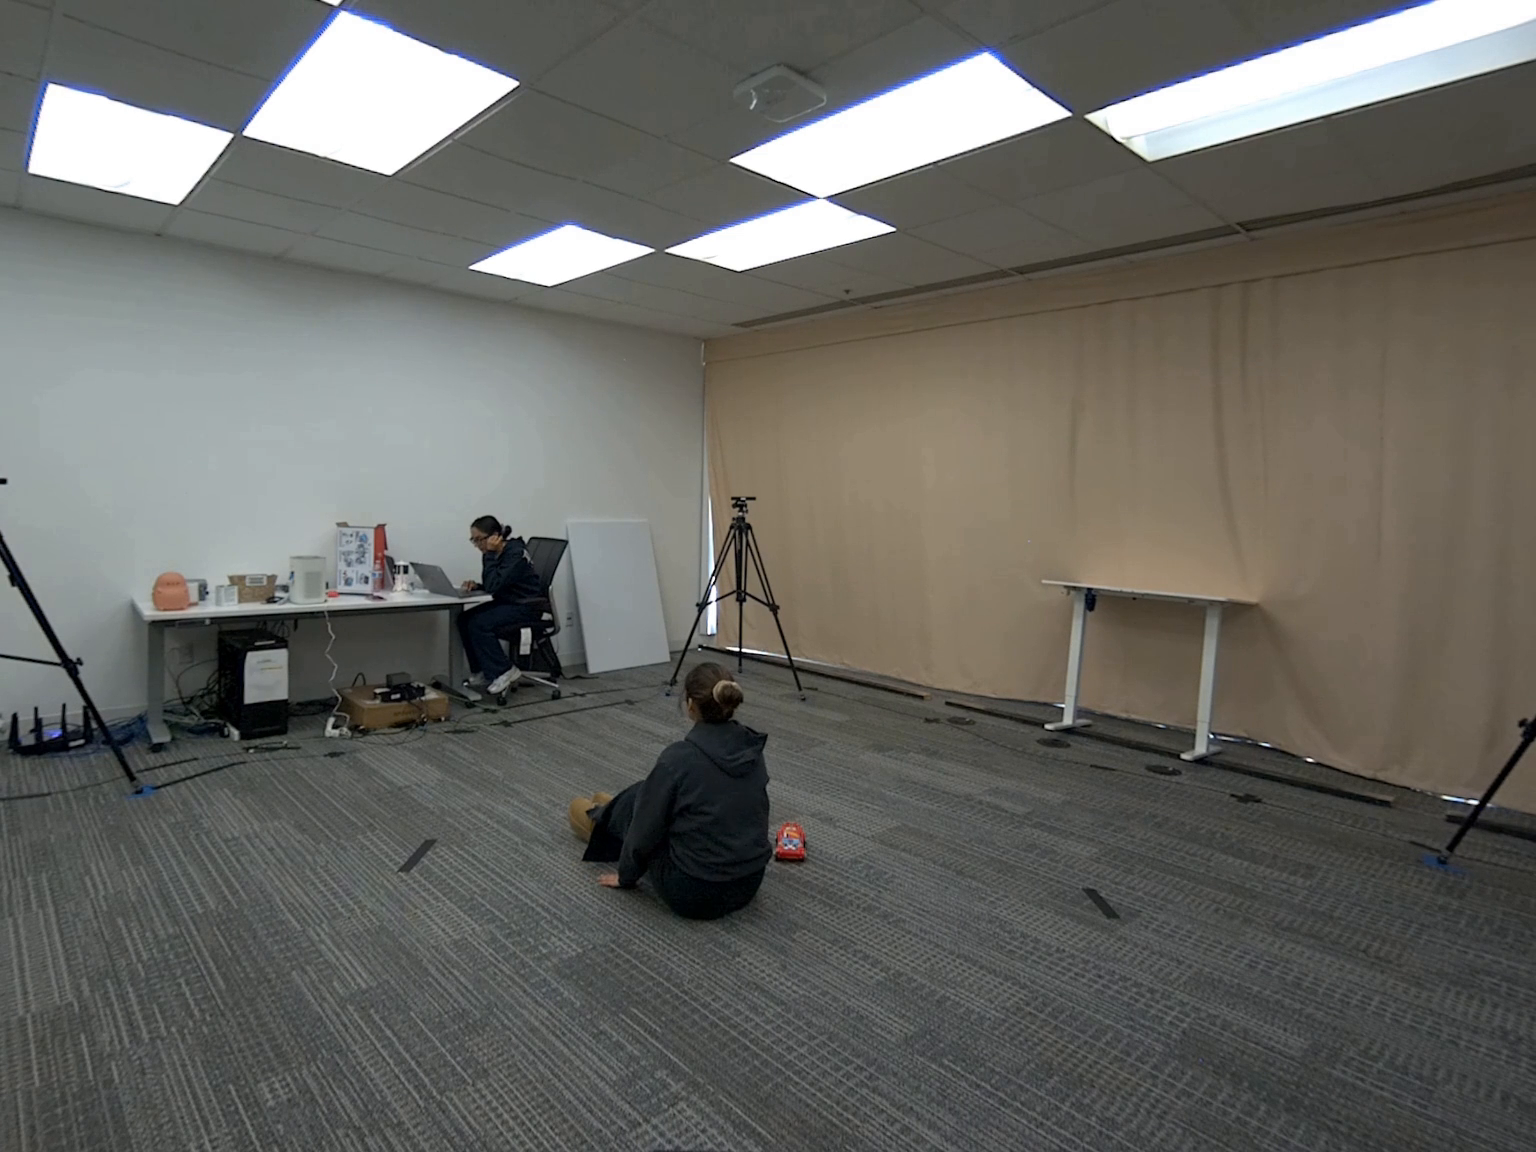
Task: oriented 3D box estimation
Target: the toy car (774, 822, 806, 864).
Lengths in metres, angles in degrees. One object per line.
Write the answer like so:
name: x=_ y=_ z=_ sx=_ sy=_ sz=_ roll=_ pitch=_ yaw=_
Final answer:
toy car: x=0.081 y=1.056 z=3.356 sx=0.131 sy=0.082 sz=0.257 roll=1 pitch=17 yaw=3
